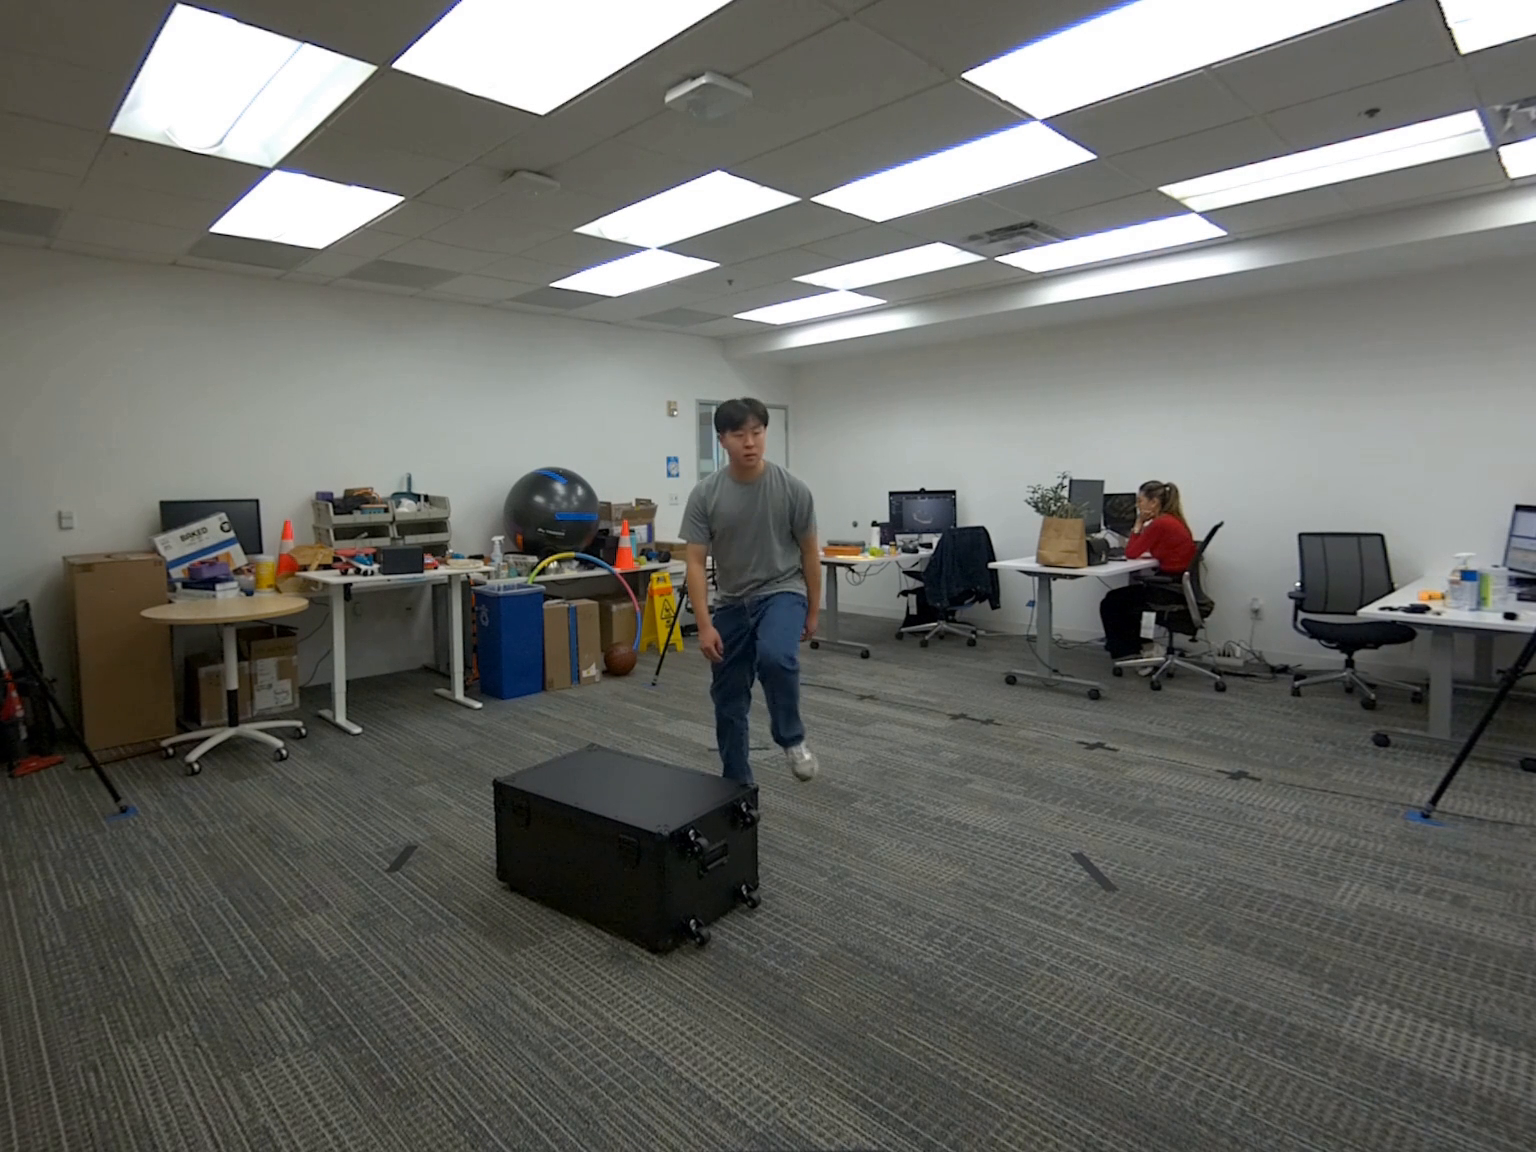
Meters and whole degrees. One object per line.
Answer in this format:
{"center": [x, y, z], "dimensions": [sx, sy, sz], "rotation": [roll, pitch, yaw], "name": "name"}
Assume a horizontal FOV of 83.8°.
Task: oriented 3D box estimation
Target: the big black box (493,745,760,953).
{"center": [-0.459, 0.889, 2.886], "dimensions": [0.886, 0.395, 0.508], "rotation": [3, 7, 36], "name": "big black box"}
